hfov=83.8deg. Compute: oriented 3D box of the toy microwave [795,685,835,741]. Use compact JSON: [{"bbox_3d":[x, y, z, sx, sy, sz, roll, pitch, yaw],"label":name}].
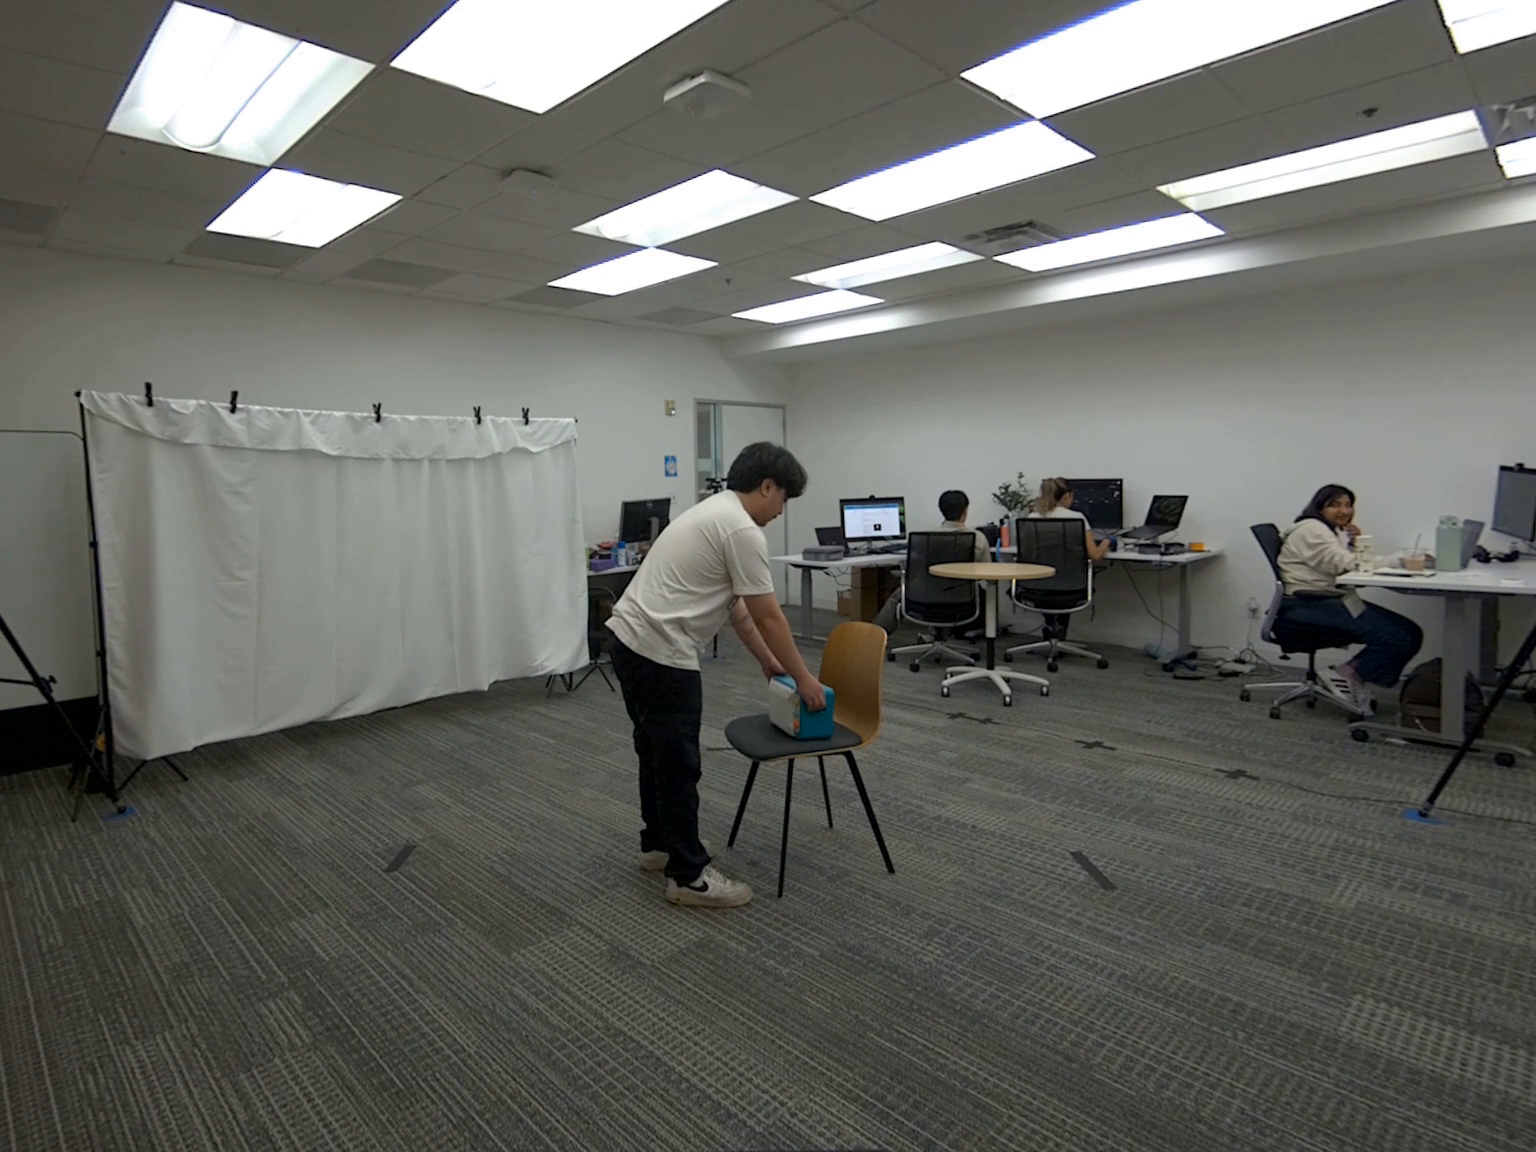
[{"bbox_3d":[0.114,0.464,3.064,0.149,0.183,0.293,0,5,-21],"label":"toy microwave"}]
